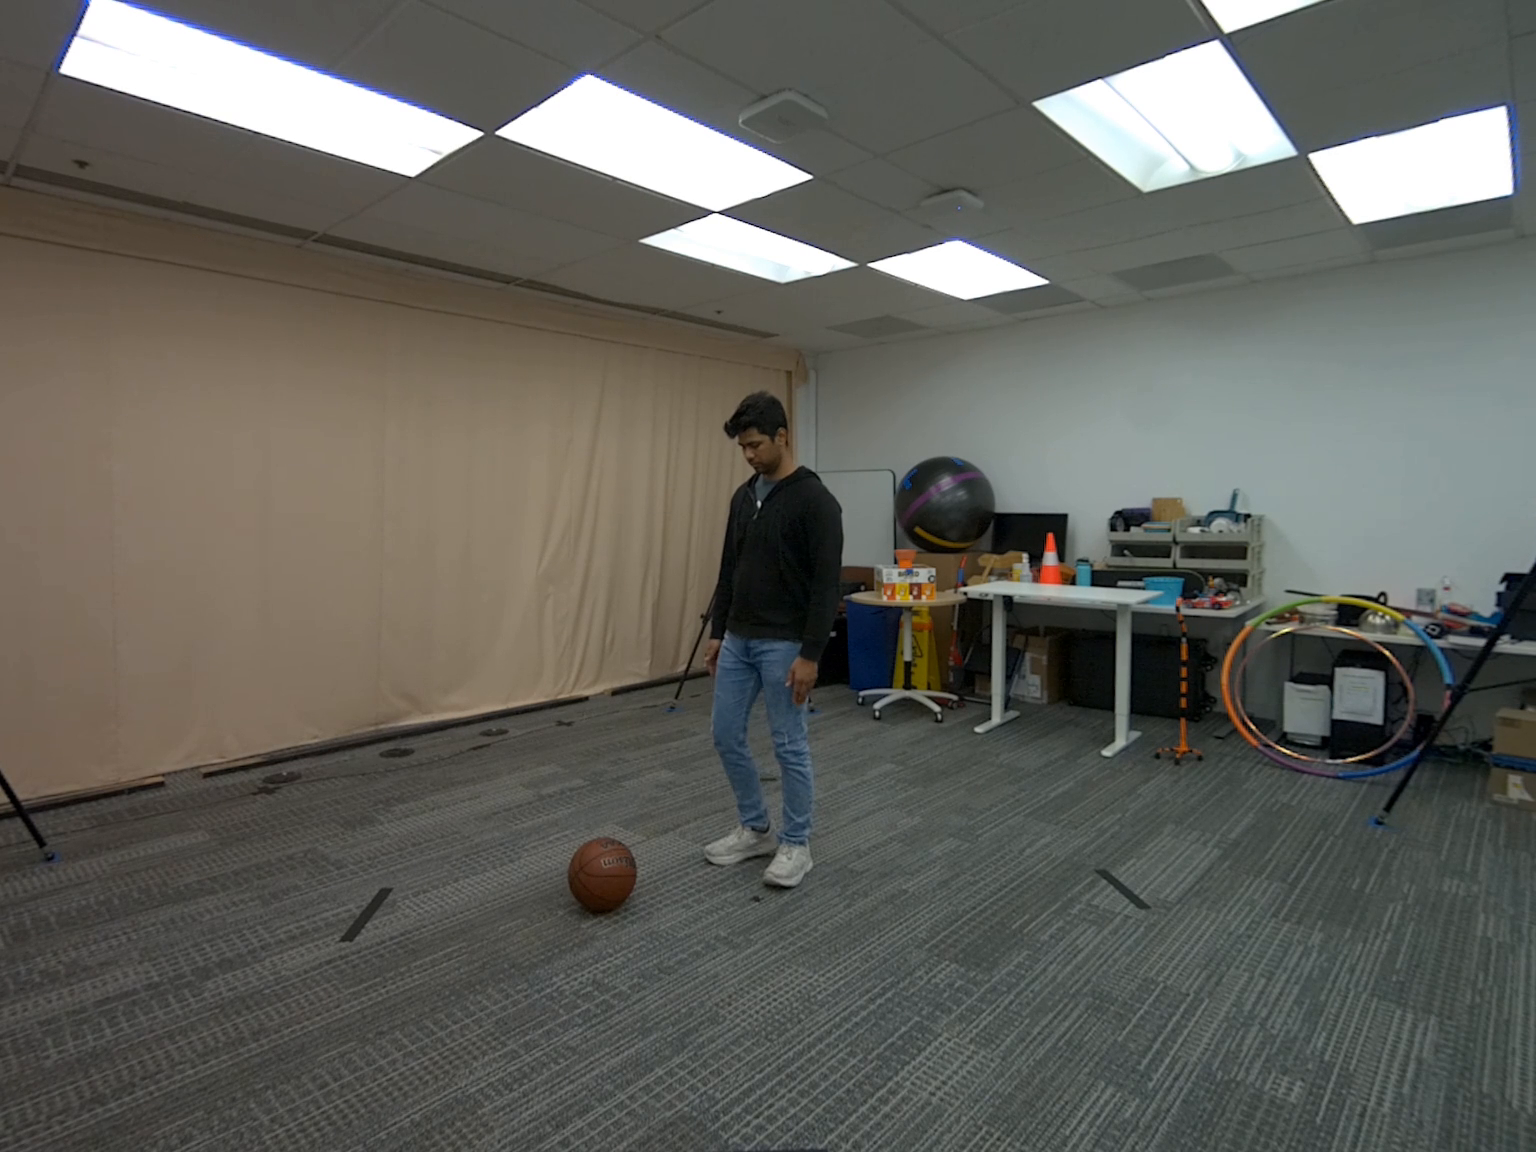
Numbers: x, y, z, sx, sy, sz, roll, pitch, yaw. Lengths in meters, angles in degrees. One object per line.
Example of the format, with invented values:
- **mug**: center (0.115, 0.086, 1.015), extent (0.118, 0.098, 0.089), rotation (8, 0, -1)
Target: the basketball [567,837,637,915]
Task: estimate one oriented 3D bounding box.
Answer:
- **basketball**: center (-0.573, 1.033, 2.921), extent (0.236, 0.235, 0.237), rotation (0, 4, -2)
